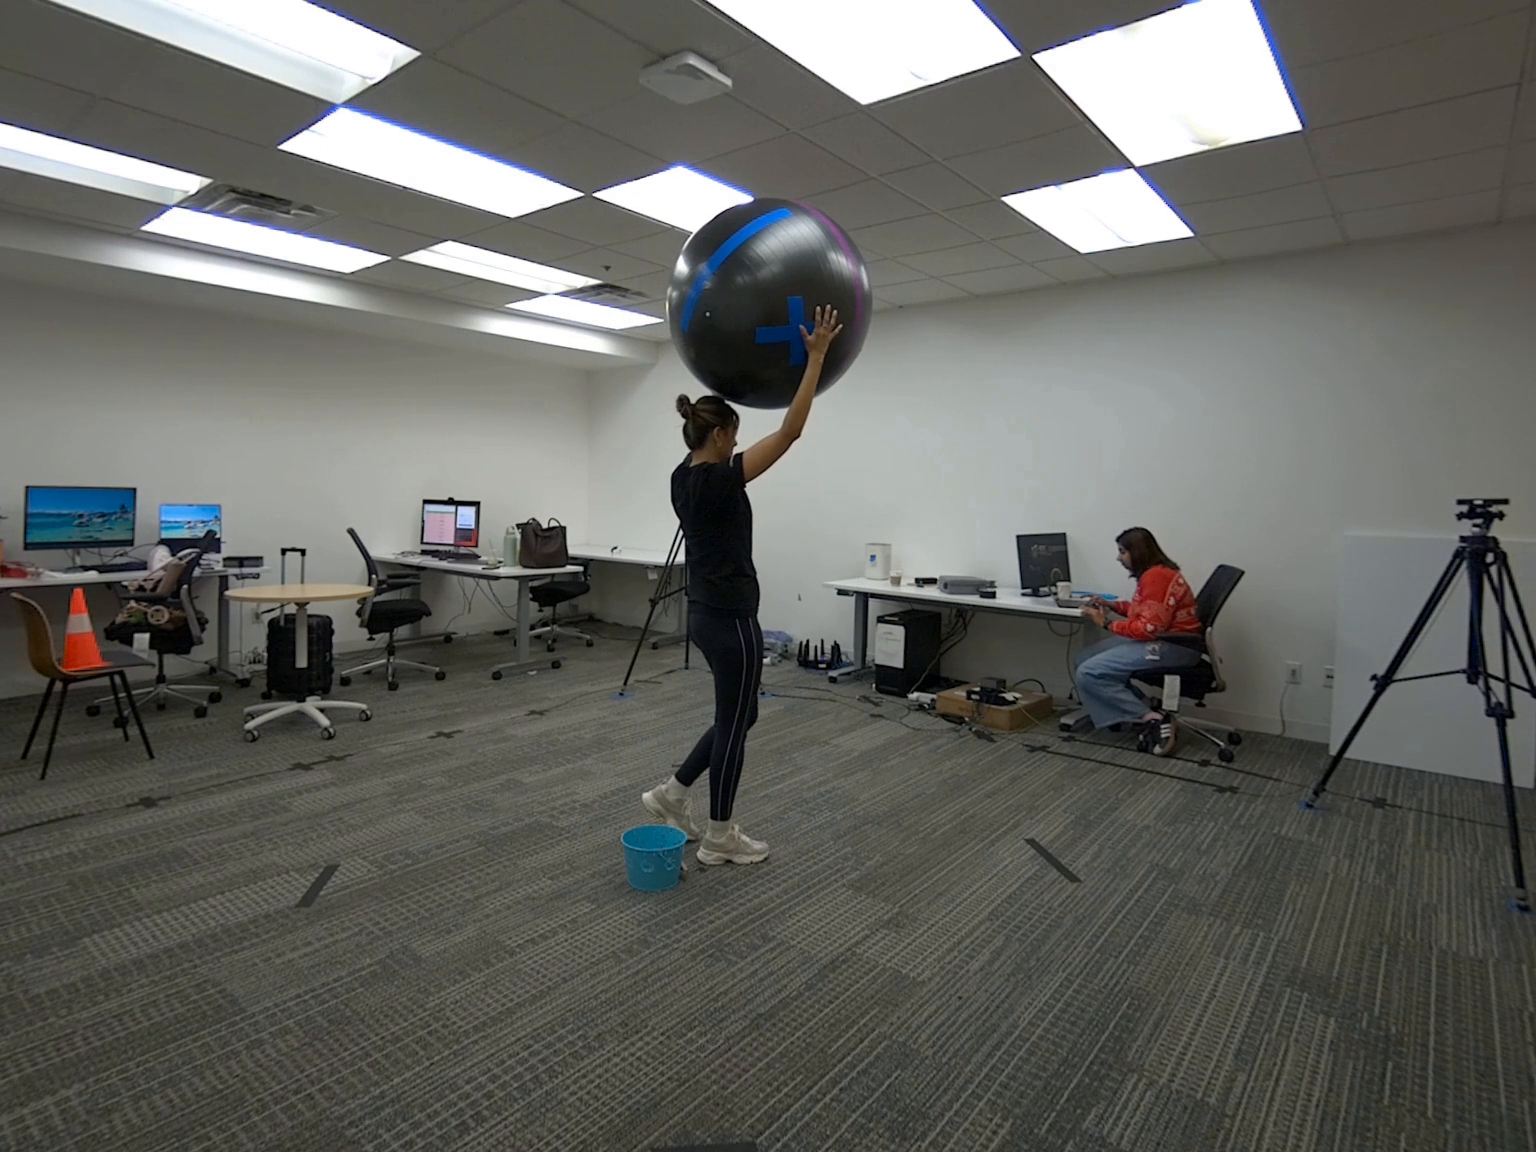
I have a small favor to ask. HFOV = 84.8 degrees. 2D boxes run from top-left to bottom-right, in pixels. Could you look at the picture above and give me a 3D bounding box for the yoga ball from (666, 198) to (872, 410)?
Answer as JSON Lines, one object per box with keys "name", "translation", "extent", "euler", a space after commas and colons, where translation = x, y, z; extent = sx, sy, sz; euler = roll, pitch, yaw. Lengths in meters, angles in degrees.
{"name": "yoga ball", "translation": [-0.005, -0.997, 3.163], "extent": [0.757, 0.755, 0.762], "euler": [1, 4, -2]}
